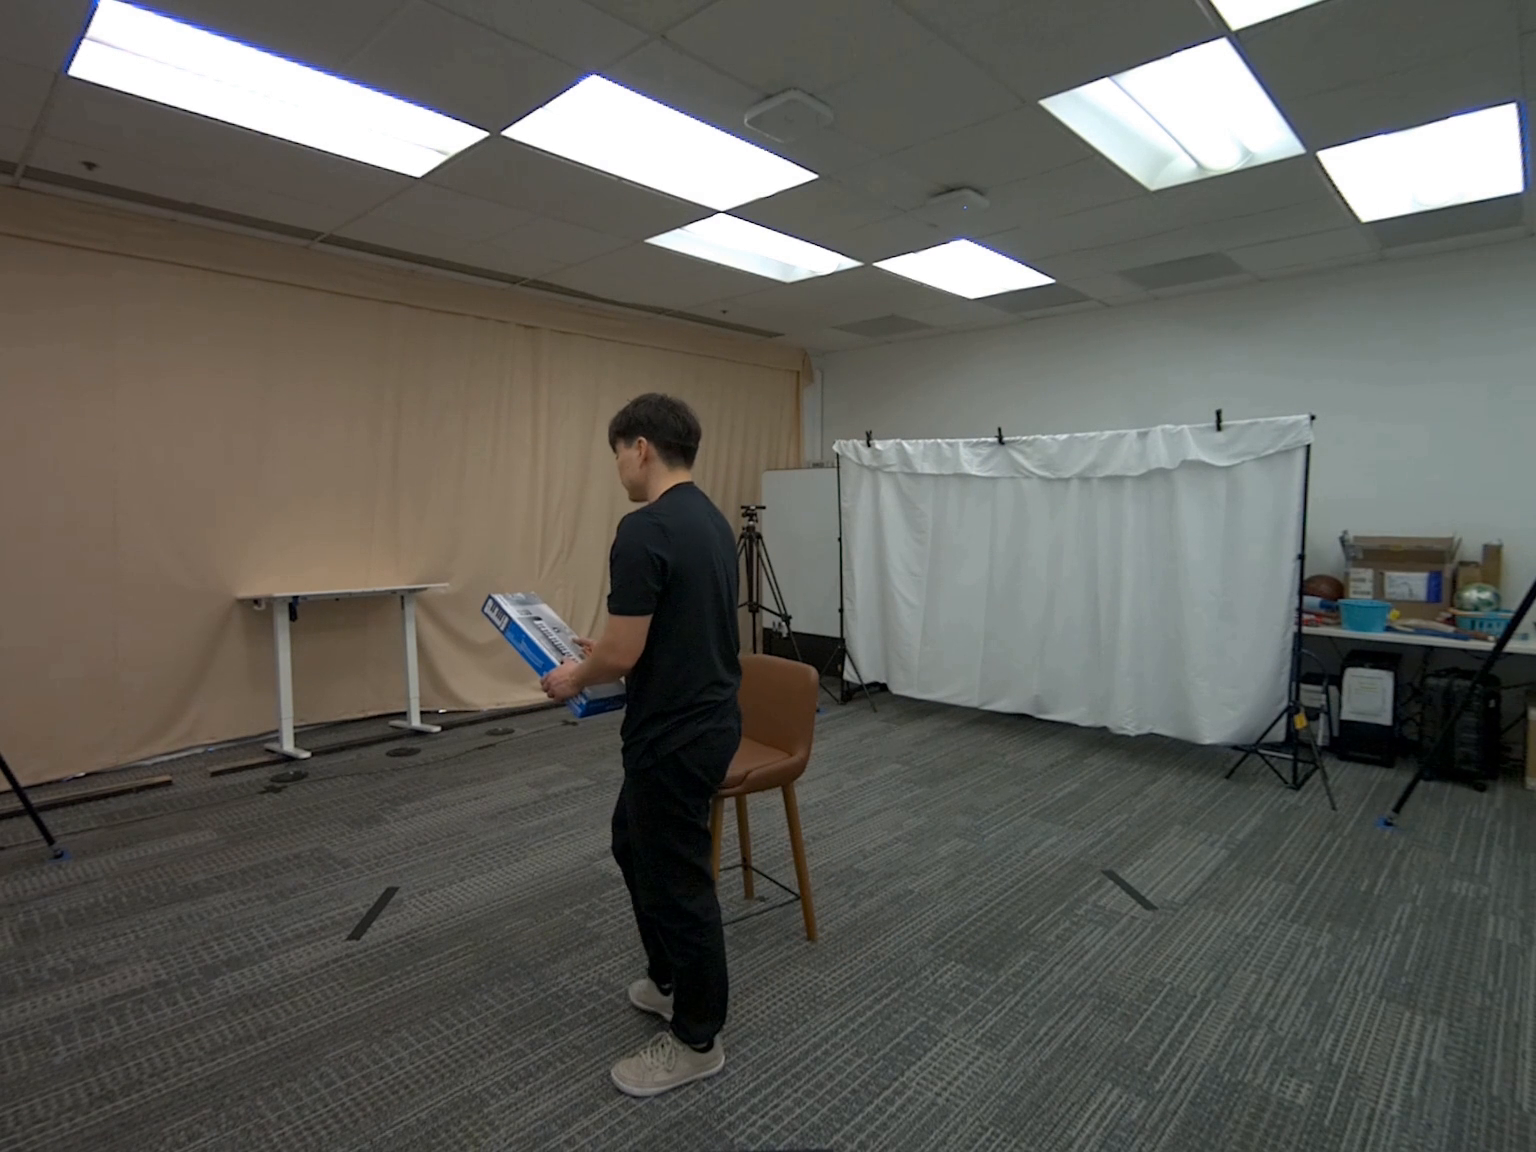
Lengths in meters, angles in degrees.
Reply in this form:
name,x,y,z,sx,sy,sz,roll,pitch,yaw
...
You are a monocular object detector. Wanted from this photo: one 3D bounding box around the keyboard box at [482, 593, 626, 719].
name,x,y,z,sx,sy,sz,roll,pitch,yaw
keyboard box,-0.560,0.200,2.215,0.450,0.059,0.171,40,19,27
